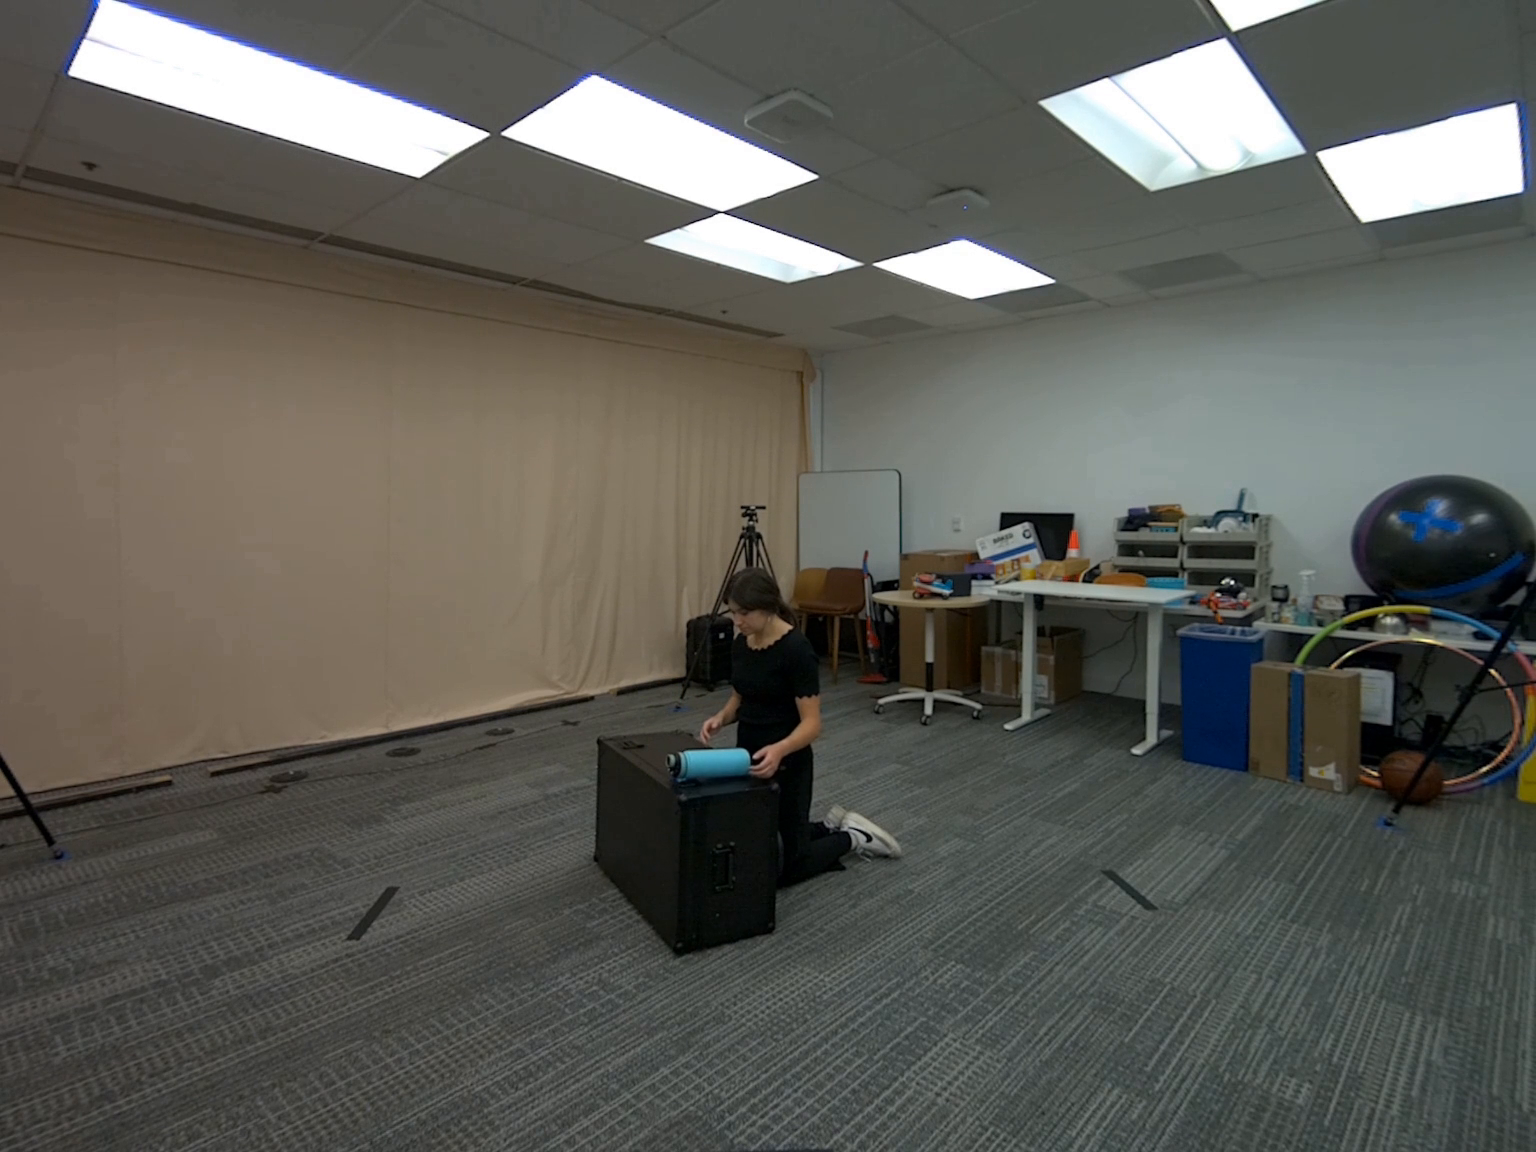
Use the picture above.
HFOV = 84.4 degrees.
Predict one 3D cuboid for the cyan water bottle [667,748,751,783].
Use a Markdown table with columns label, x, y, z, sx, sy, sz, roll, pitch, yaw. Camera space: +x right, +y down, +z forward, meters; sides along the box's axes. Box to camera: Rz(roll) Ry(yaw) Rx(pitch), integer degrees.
| label | x | y | z | sx | sy | sz | roll | pitch | yaw |
| --- | --- | --- | --- | --- | --- | --- | --- | --- | --- |
| cyan water bottle | -0.202 | 0.618 | 2.775 | 0.276 | 0.092 | 0.095 | 3 | 2 | -27 |
